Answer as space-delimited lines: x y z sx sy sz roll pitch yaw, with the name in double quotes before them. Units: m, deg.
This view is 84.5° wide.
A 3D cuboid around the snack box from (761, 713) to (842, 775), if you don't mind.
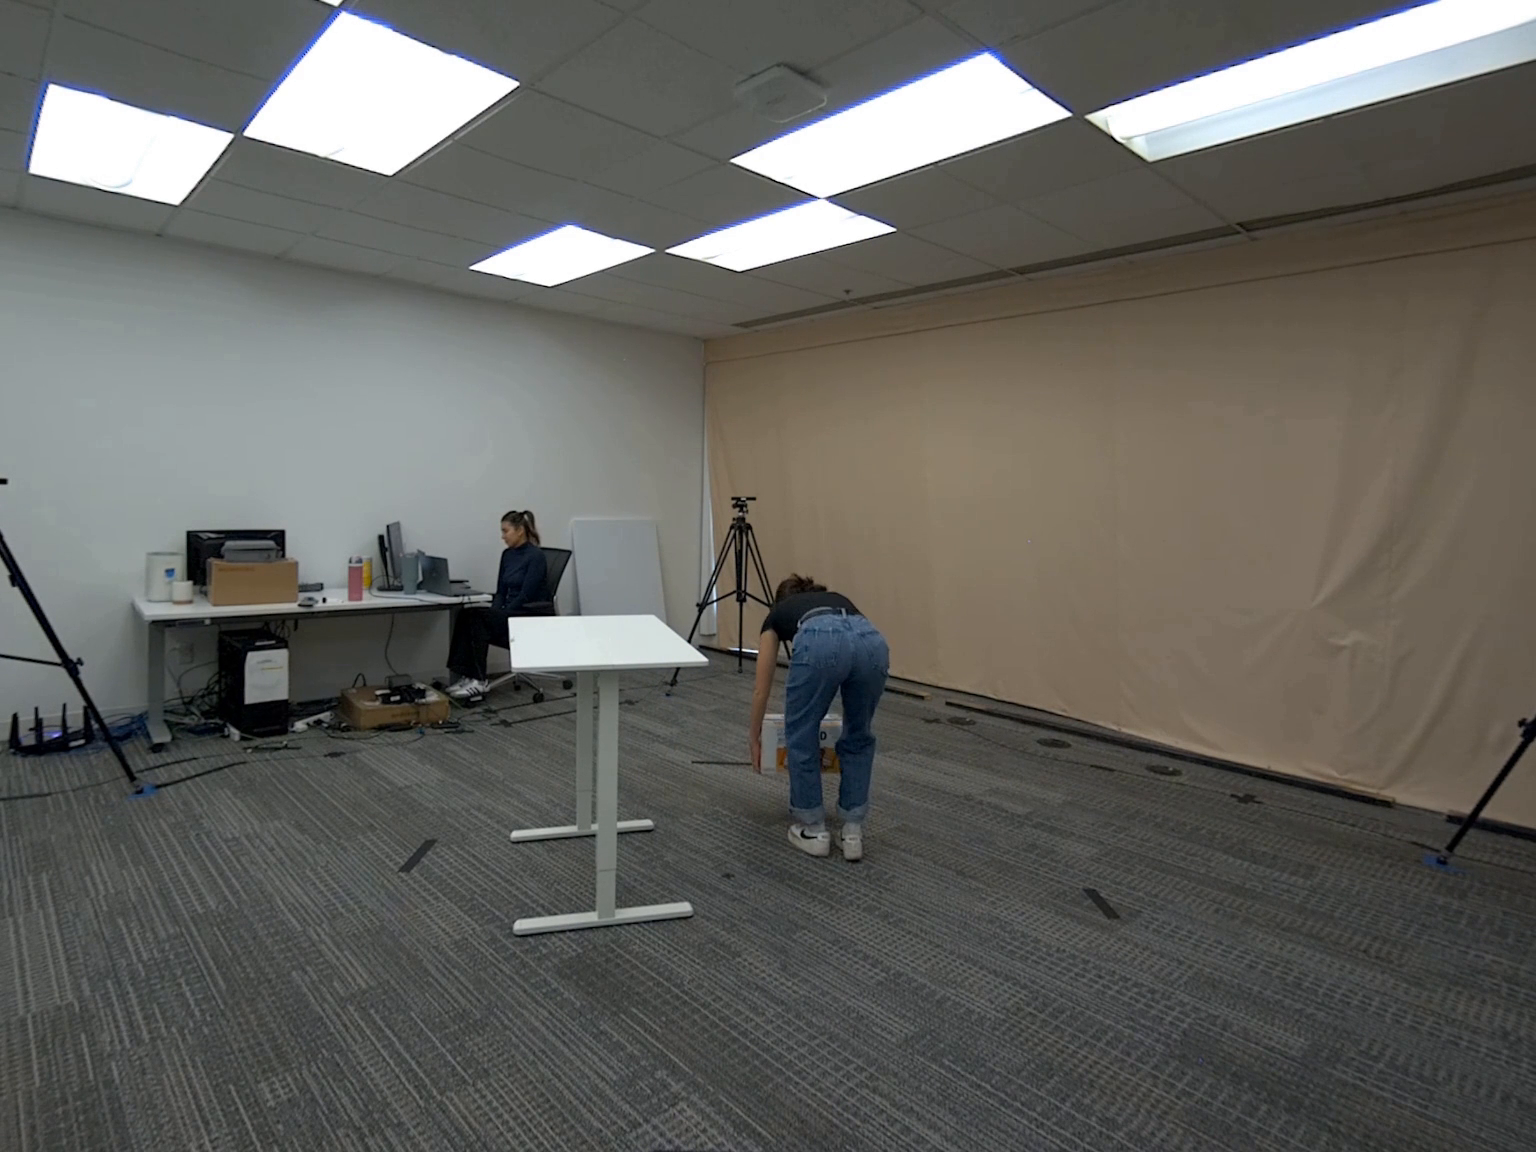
"snack box" 0.138 0.730 3.679 0.402 0.206 0.342 2 -2 -9
